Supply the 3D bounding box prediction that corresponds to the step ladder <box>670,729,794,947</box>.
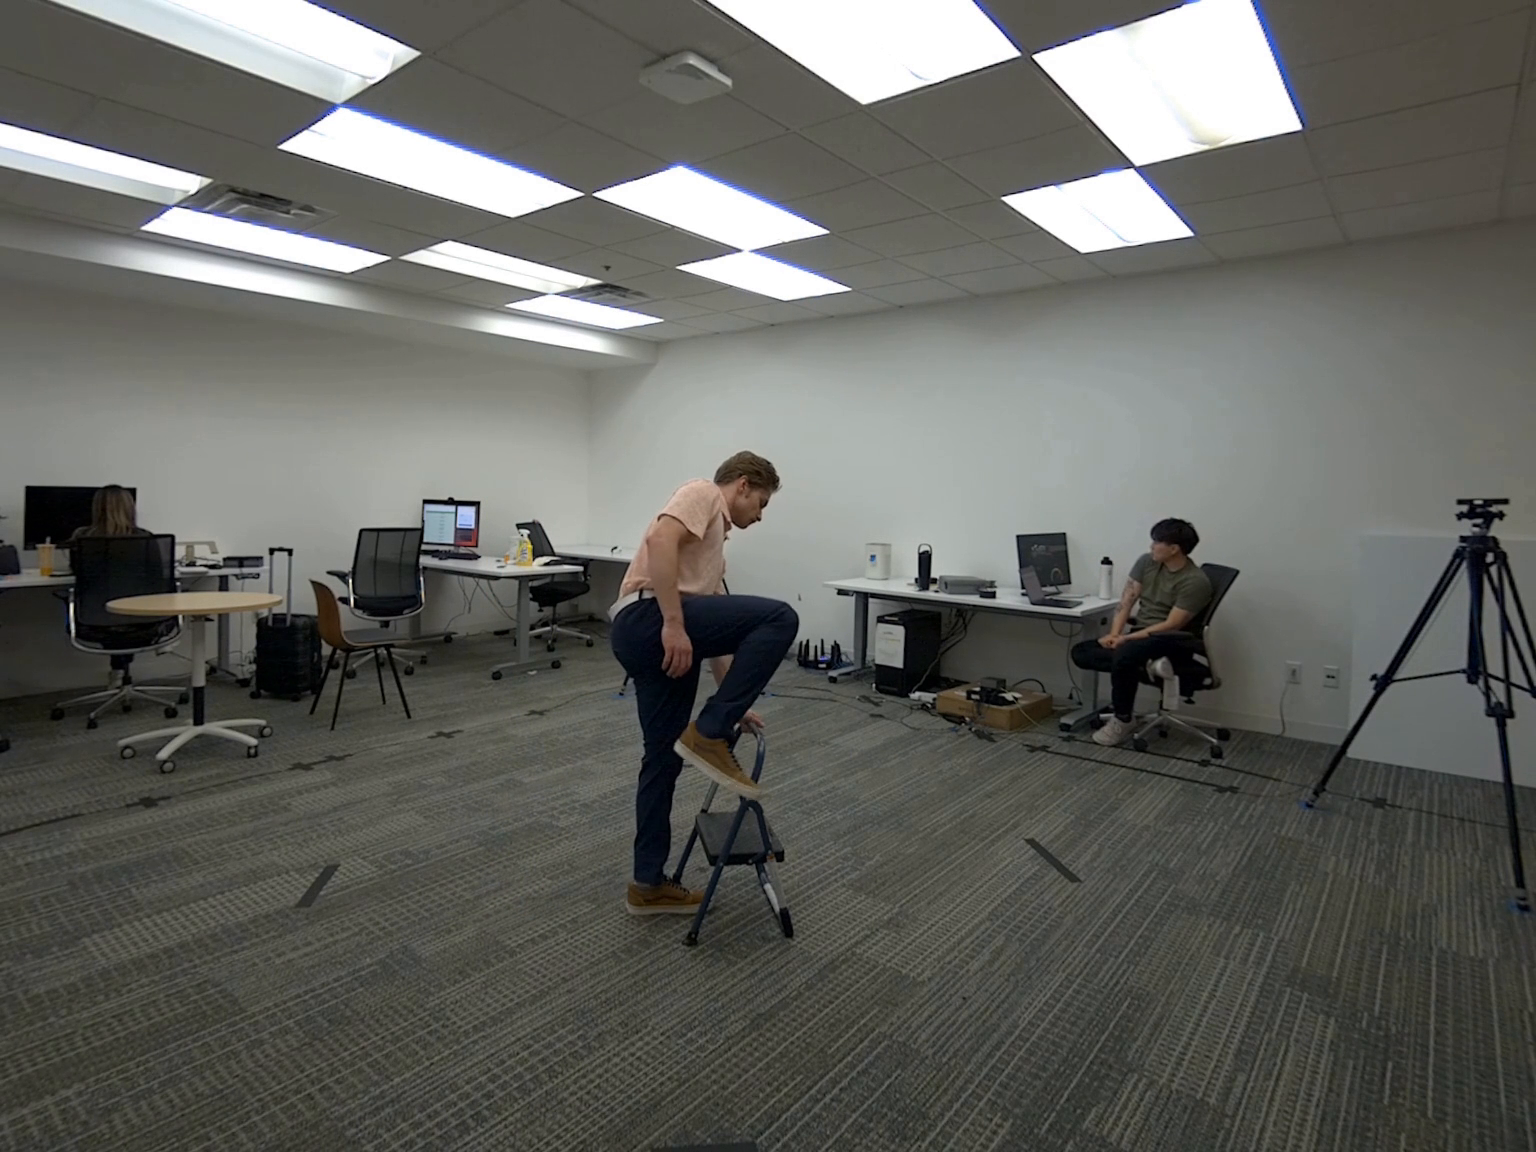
[{"bbox_3d":[-0.128,0.799,2.800,0.345,0.604,0.438,1,4,-13],"label":"step ladder"}]
